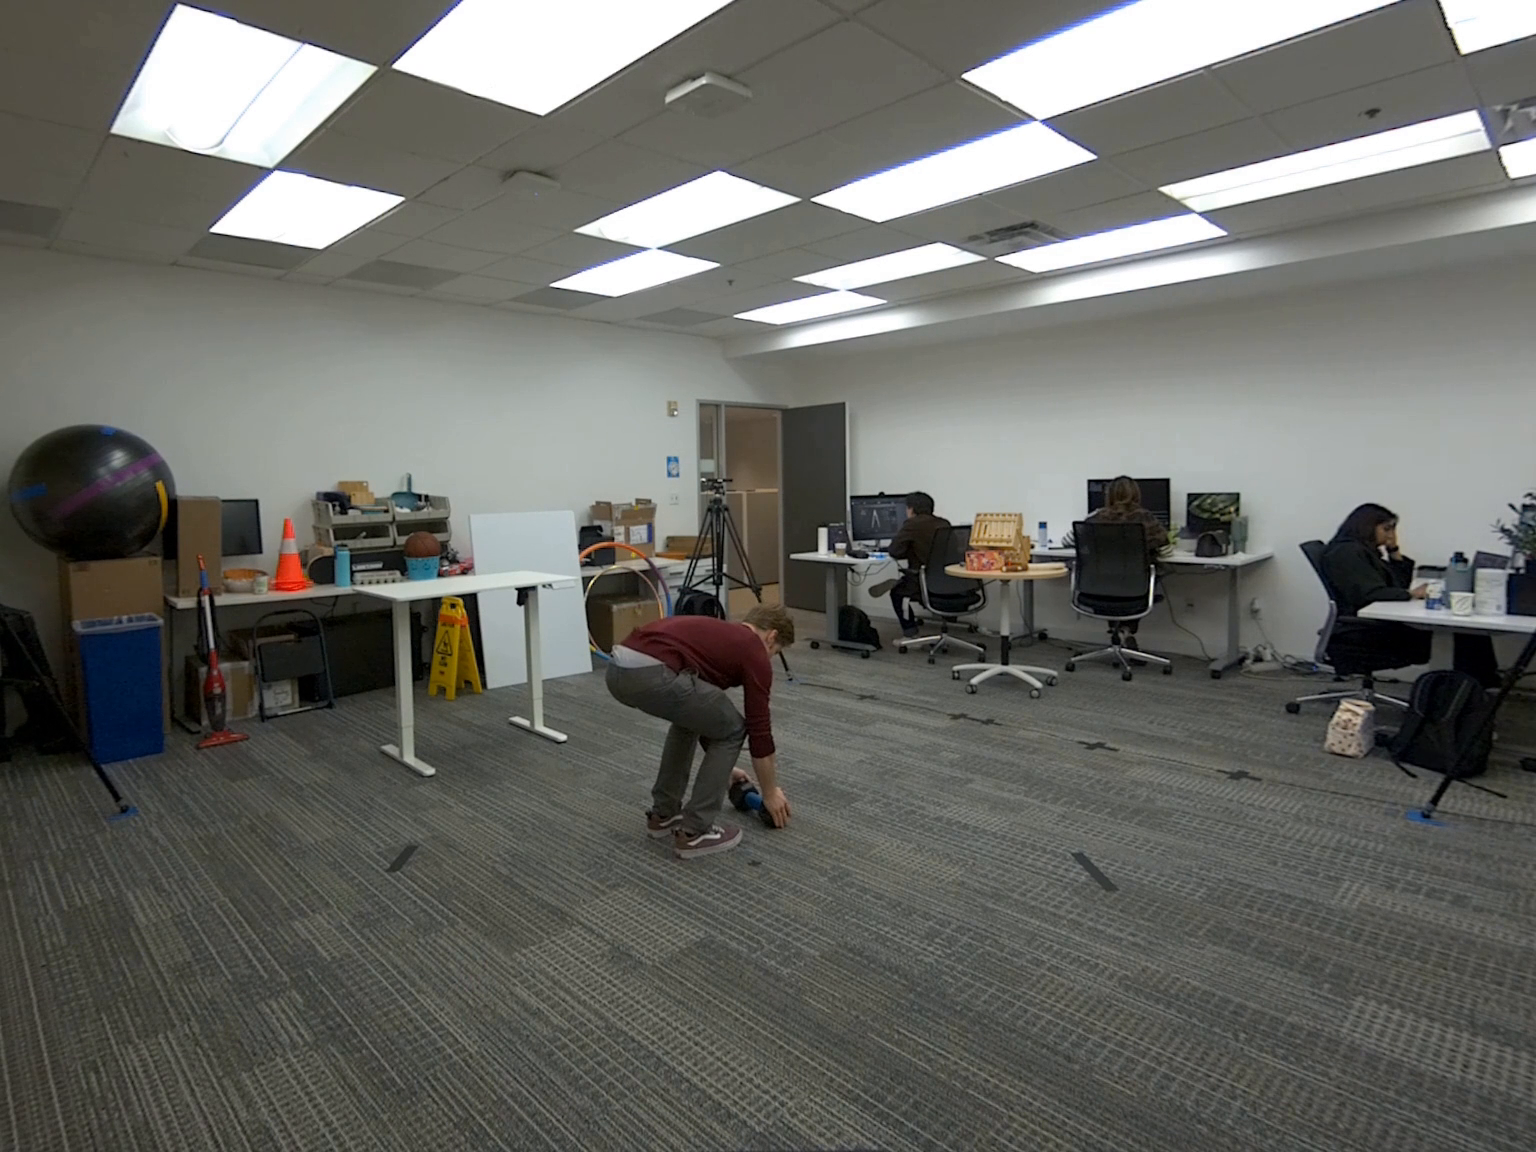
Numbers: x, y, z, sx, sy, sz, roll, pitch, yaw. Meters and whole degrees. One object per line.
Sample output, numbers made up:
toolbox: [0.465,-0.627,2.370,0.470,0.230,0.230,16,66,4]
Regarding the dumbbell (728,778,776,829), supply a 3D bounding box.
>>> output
dumbbell: [-0.041,0.942,3.535,0.108,0.120,0.302,-41,24,-25]
